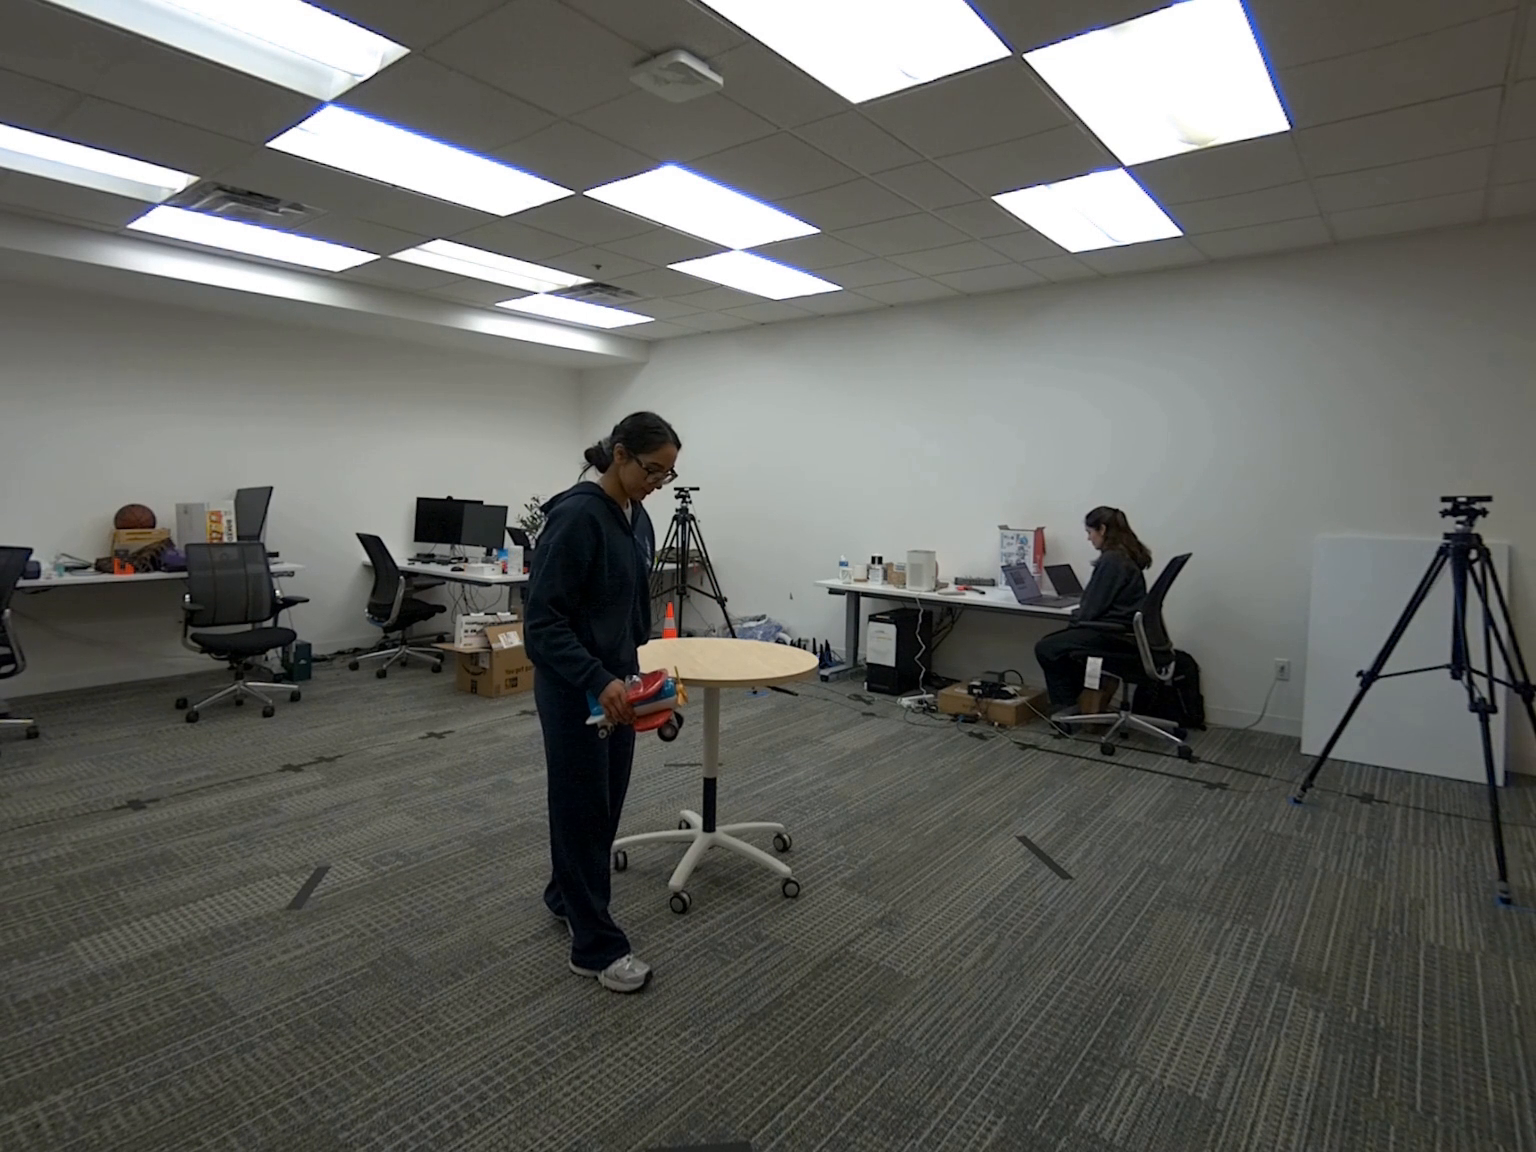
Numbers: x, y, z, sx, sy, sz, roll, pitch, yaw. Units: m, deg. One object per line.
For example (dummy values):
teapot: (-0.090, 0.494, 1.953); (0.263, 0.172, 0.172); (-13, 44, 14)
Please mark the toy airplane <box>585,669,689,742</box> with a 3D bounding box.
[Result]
toy airplane: (-0.349, 0.342, 2.202); (0.254, 0.155, 0.257); (-7, 6, -21)
